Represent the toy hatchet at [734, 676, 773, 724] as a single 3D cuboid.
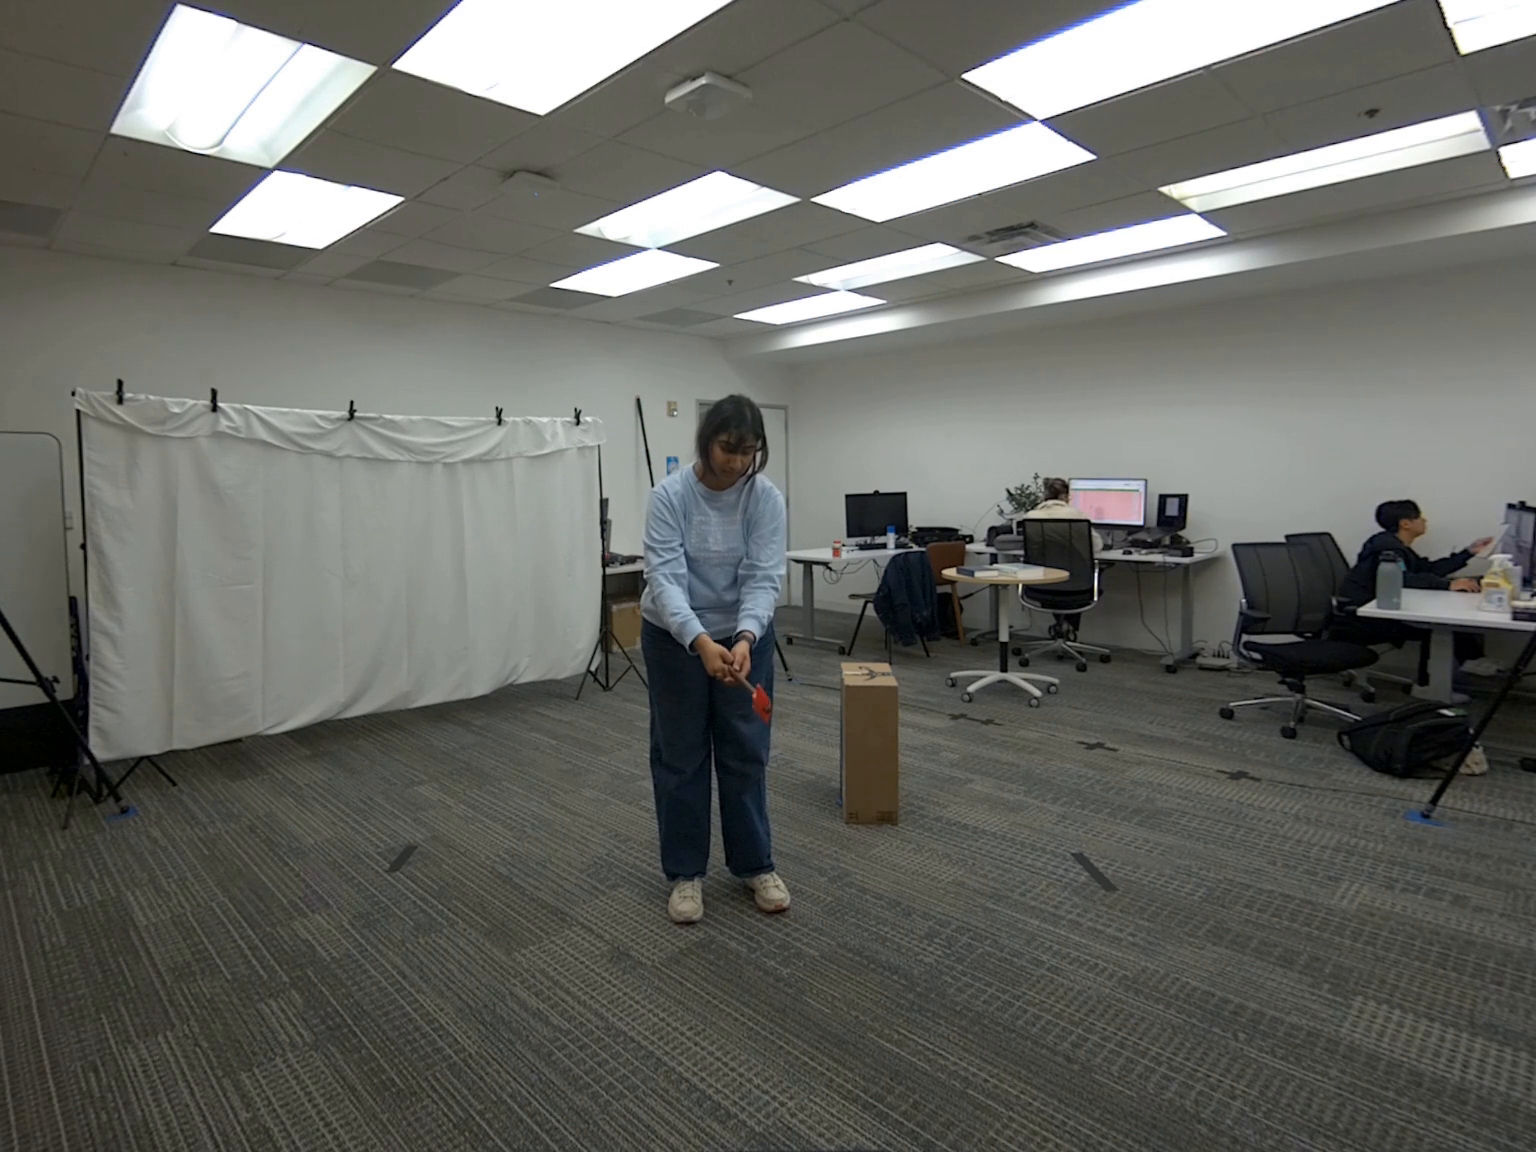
[{"bbox_3d":[-0.064,0.272,2.243,0.029,0.128,0.279,-26,25,-15],"label":"toy hatchet"}]
